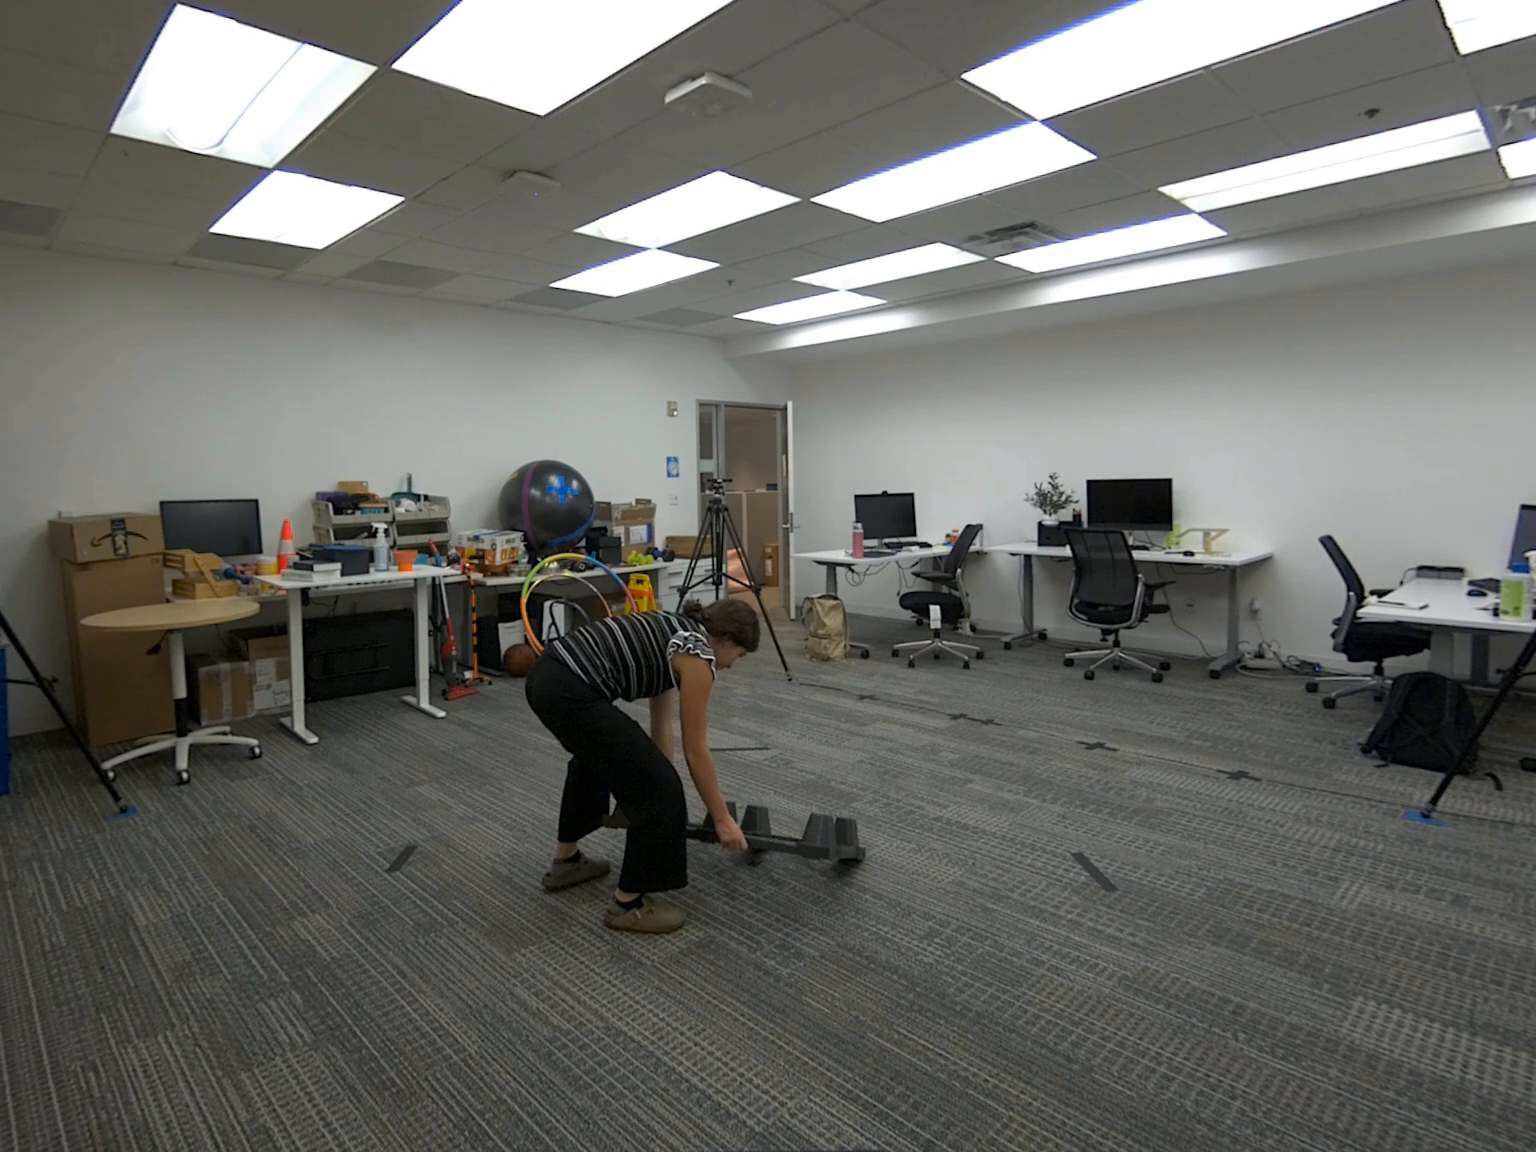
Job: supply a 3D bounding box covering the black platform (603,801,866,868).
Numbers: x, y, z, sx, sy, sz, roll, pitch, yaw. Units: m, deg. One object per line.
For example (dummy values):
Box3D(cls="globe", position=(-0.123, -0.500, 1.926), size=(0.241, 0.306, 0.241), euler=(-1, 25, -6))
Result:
Box3D(cls="black platform", position=(-0.104, 0.883, 3.027), size=(0.821, 0.145, 0.586), euler=(2, -17, 20))
